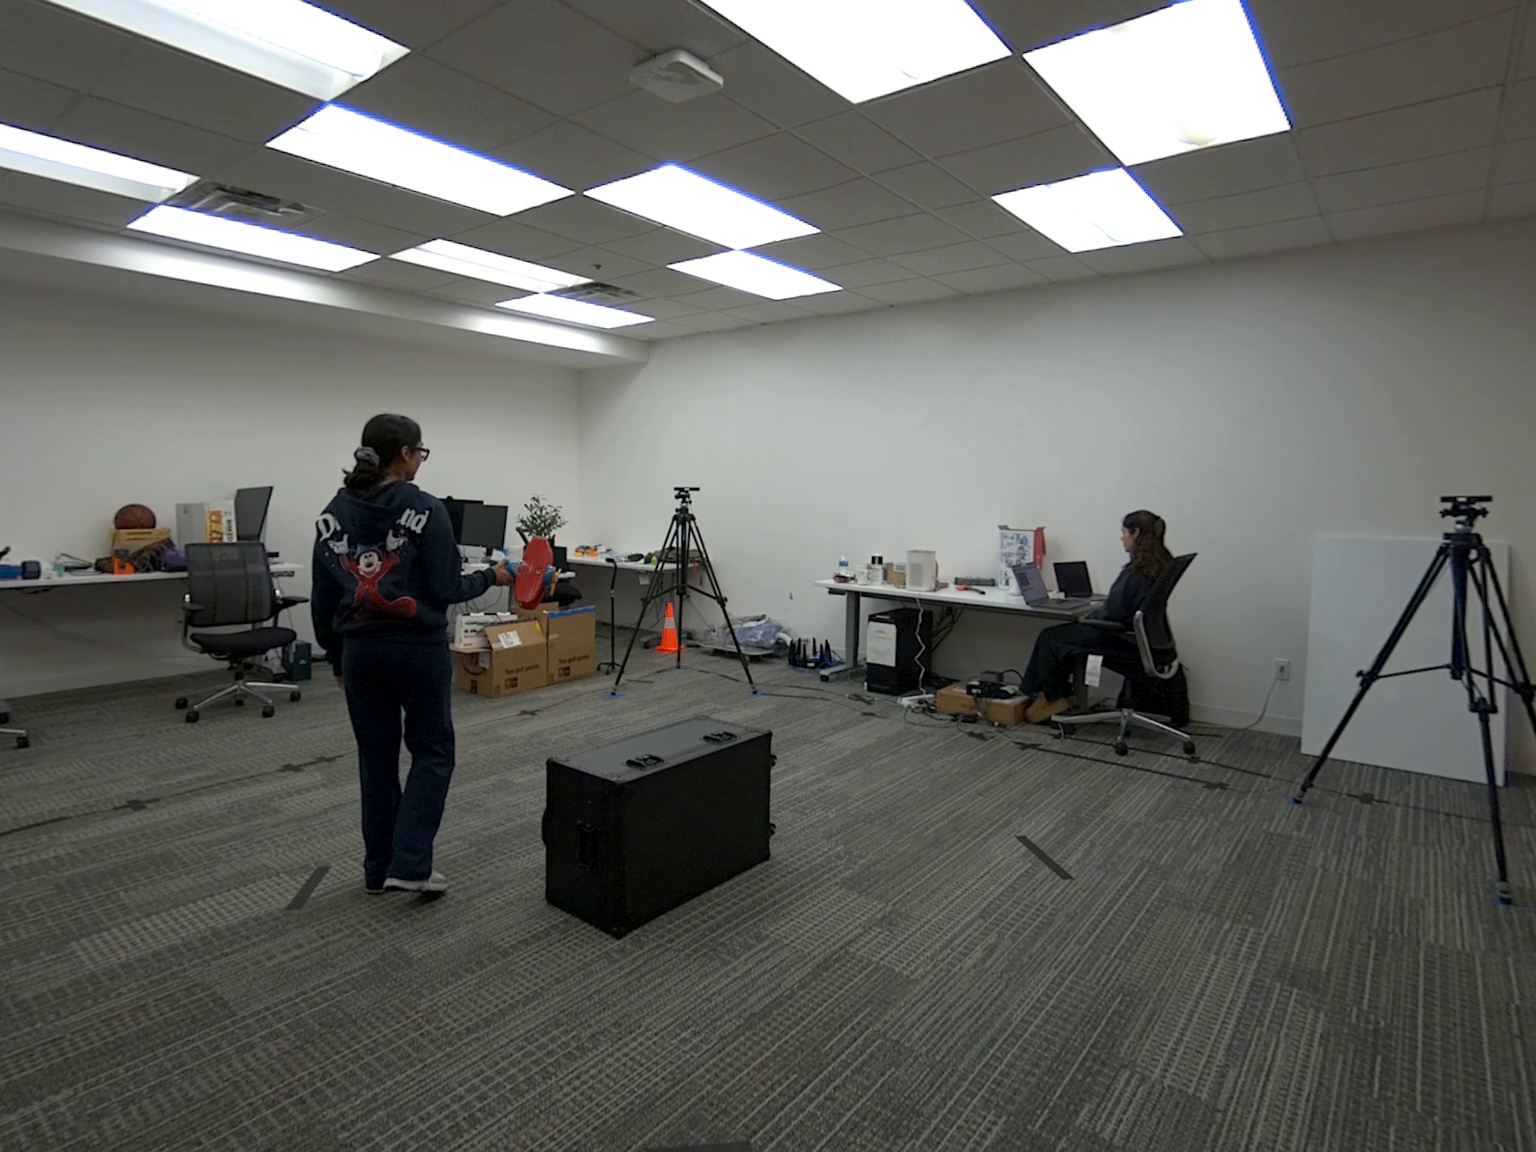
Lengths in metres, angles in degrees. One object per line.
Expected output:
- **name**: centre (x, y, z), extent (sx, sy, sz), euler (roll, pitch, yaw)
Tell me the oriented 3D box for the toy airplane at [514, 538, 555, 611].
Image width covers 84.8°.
- **toy airplane**: centre (-0.913, 0.005, 3.159), extent (0.255, 0.255, 0.156), euler (-14, -13, -19)
